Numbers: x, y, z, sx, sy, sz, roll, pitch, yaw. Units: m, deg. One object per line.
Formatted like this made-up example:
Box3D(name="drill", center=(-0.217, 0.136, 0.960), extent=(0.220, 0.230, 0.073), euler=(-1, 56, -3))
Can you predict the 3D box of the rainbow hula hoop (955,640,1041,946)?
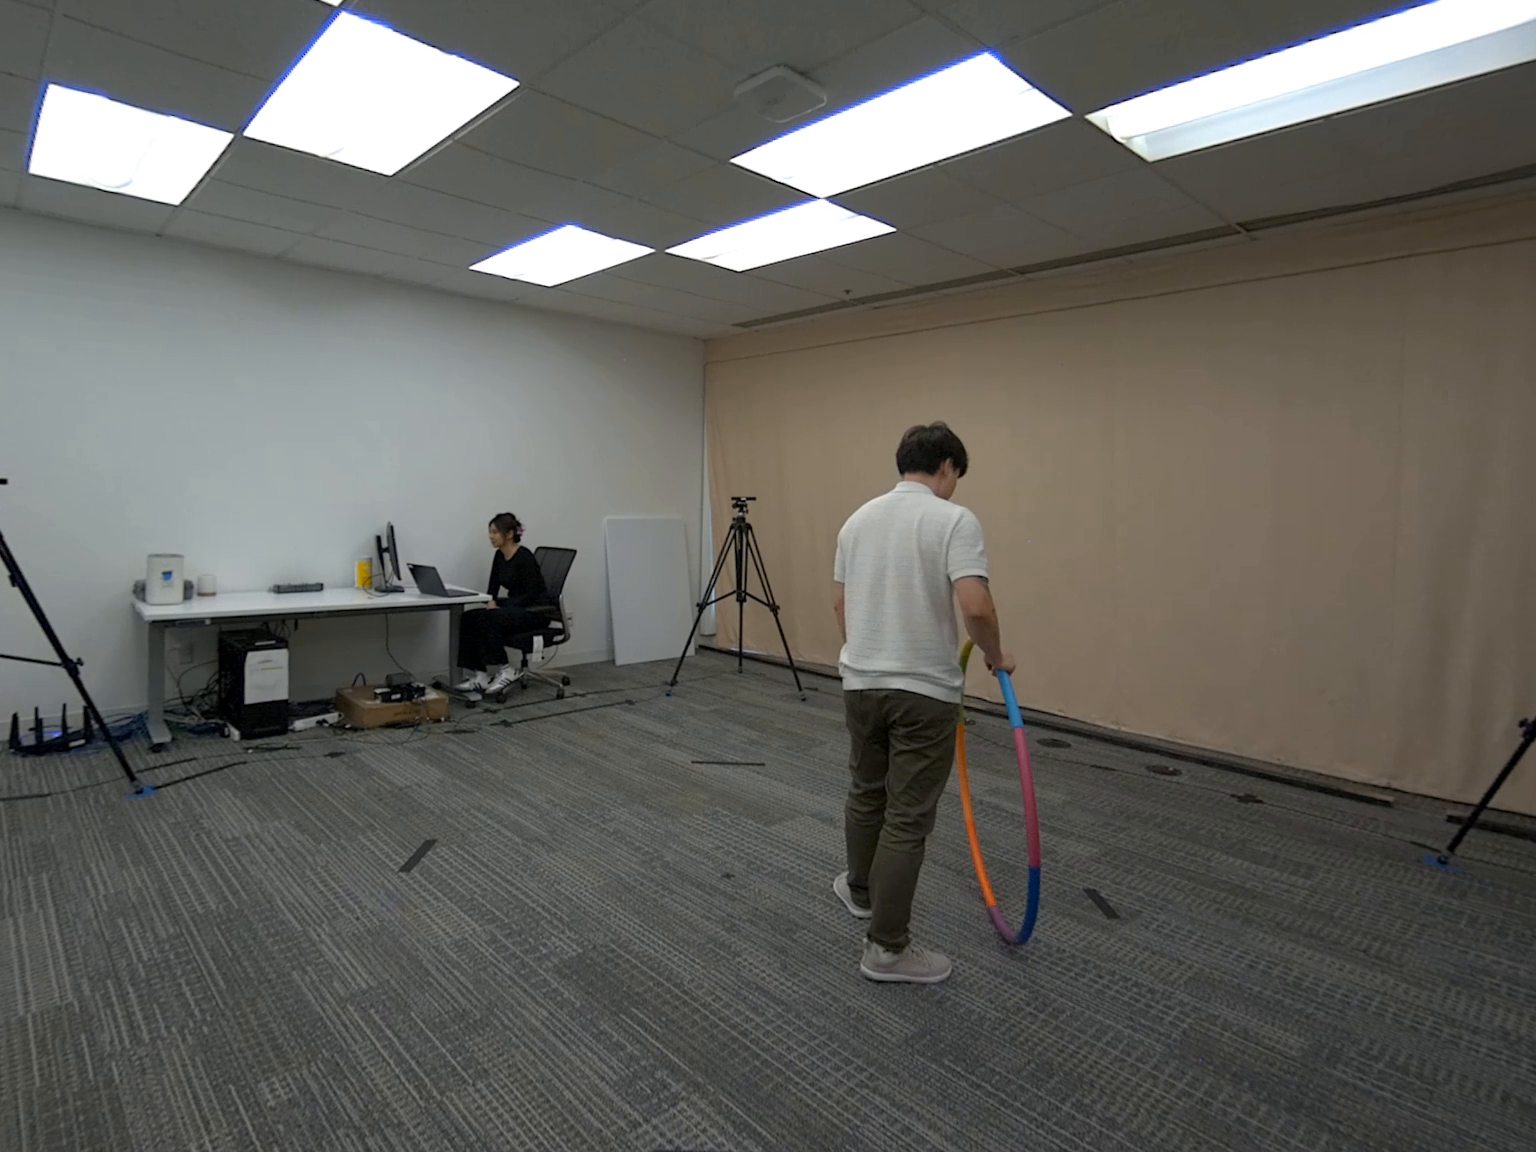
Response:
Box3D(name="rainbow hula hoop", center=(0.724, 0.678, 2.772), extent=(0.035, 0.976, 0.979), euler=(-5, 4, 1))
